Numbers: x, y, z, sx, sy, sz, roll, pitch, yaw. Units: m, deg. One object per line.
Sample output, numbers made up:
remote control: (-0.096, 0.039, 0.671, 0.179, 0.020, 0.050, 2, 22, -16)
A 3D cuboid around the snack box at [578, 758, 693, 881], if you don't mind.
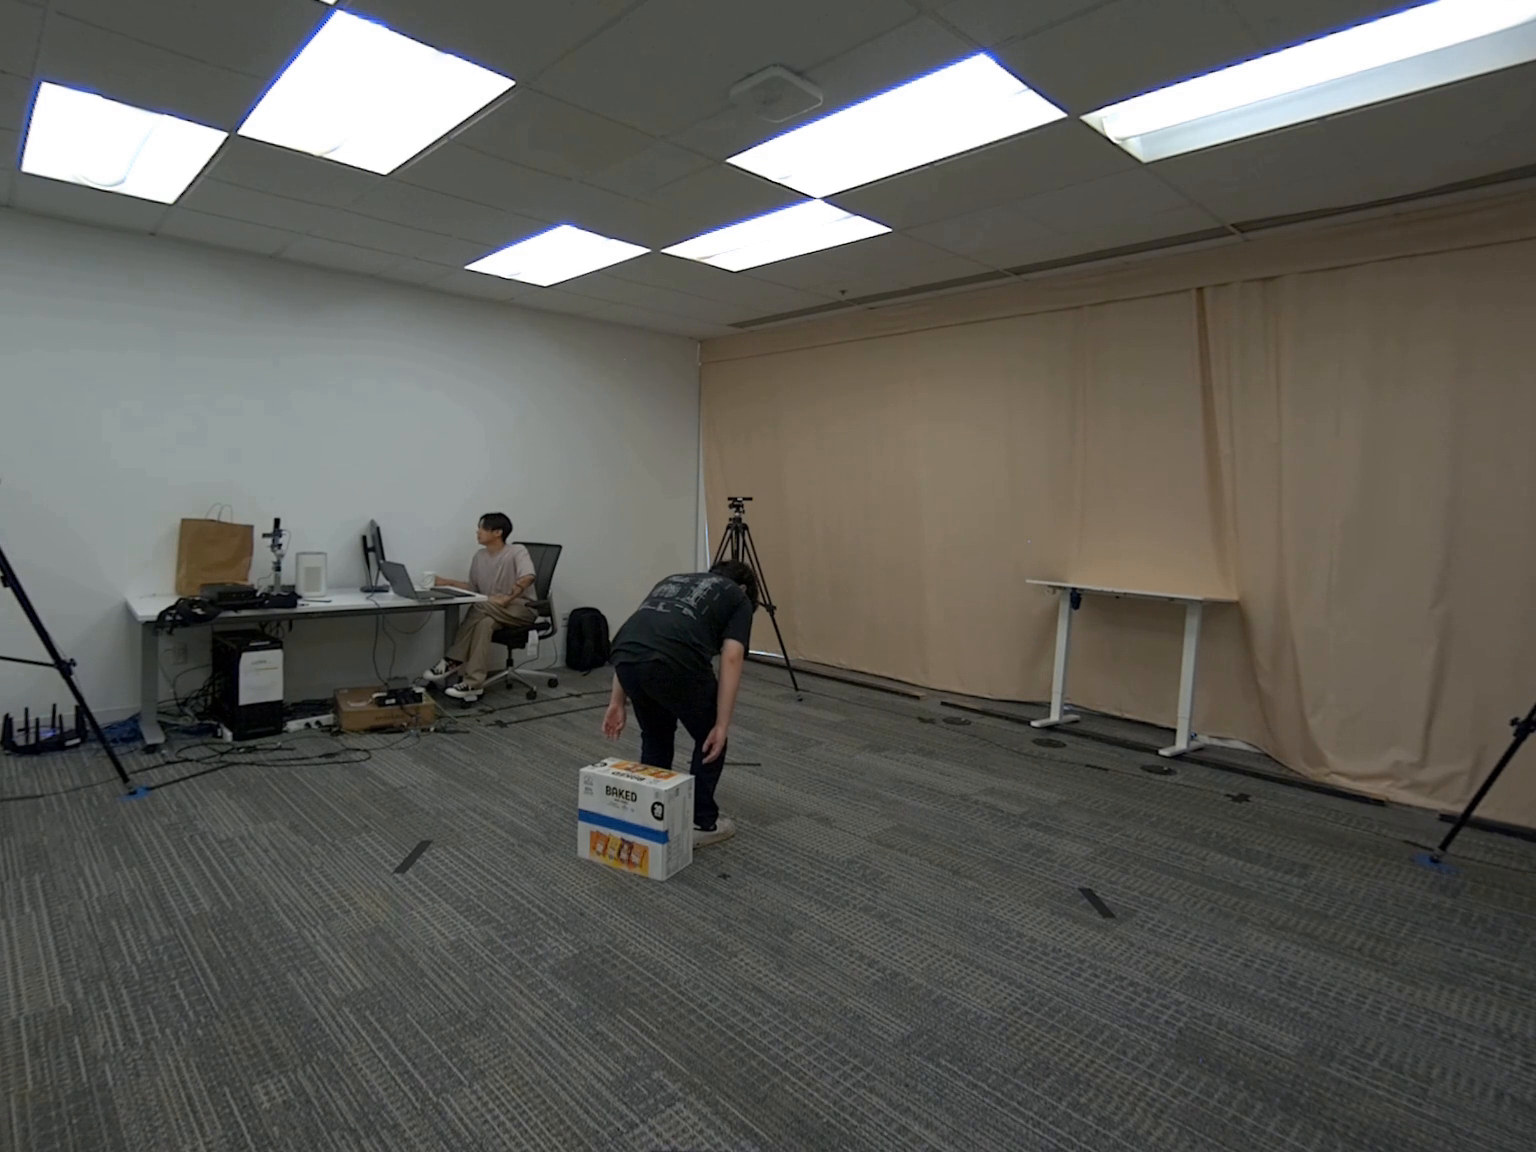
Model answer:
snack box: (-0.510, 0.916, 3.223, 0.414, 0.339, 0.202, 4, 4, 29)
